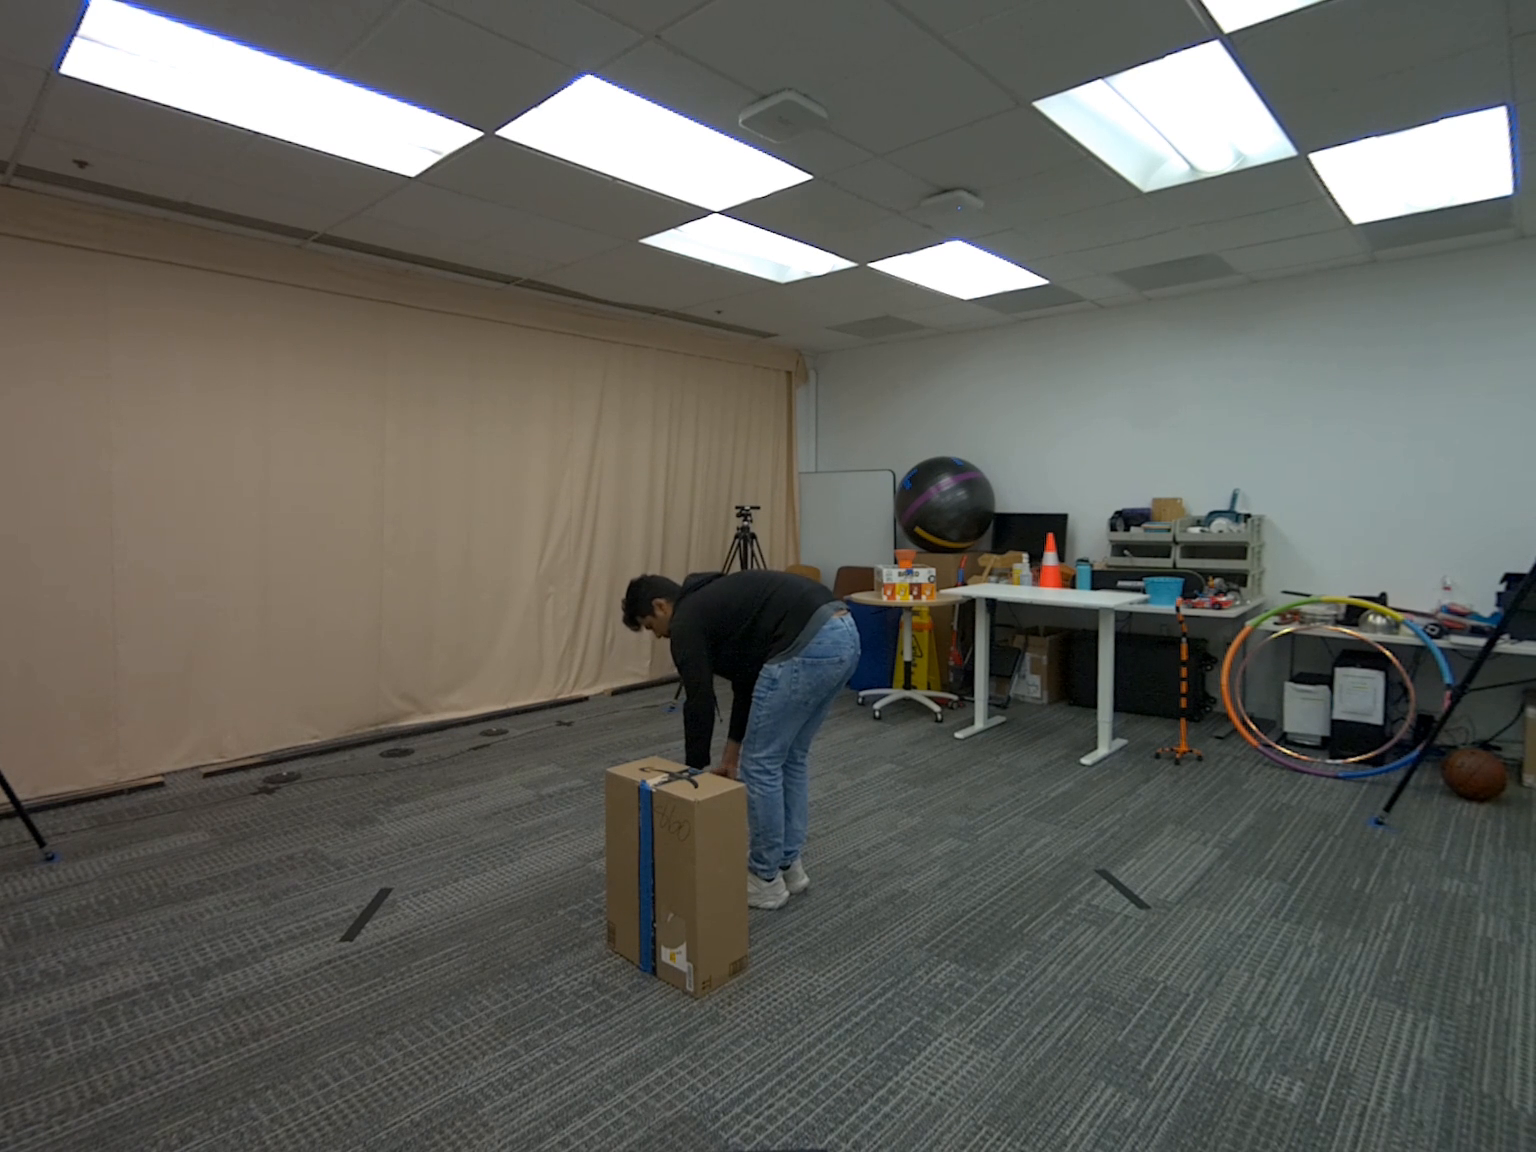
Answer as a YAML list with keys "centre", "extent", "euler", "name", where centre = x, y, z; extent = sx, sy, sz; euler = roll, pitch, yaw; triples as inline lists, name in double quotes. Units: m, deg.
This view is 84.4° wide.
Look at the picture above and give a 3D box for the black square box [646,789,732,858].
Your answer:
- centre: [-0.298, 0.929, 3.203]
  extent: [0.223, 0.156, 0.221]
  euler: [-2, 2, 36]
  name: "black square box"
